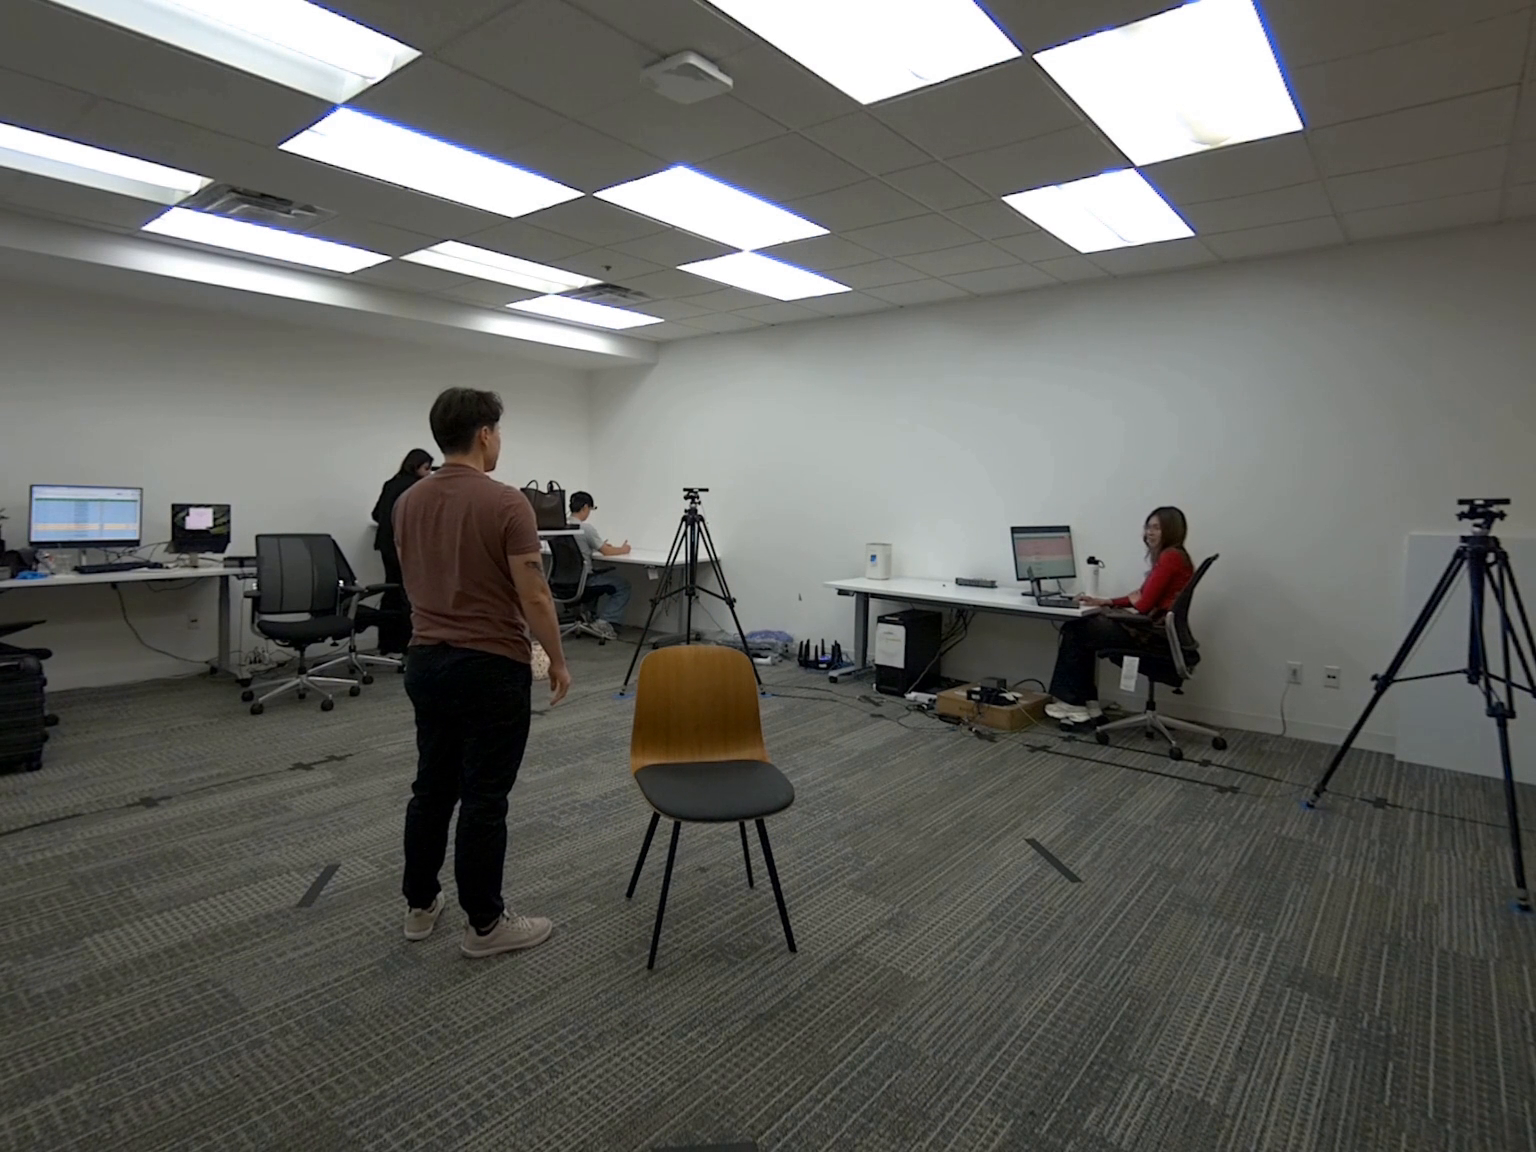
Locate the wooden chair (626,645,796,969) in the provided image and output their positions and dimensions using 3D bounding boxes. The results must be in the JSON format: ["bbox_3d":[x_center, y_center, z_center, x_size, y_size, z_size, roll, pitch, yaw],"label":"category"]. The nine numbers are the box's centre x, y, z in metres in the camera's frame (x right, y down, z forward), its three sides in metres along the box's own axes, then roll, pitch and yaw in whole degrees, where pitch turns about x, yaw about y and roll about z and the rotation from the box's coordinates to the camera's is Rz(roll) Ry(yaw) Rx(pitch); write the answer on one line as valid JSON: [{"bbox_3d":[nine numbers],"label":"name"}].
[{"bbox_3d":[-0.193,0.686,2.681,0.470,0.878,0.531,0,0,-16],"label":"wooden chair"}]
